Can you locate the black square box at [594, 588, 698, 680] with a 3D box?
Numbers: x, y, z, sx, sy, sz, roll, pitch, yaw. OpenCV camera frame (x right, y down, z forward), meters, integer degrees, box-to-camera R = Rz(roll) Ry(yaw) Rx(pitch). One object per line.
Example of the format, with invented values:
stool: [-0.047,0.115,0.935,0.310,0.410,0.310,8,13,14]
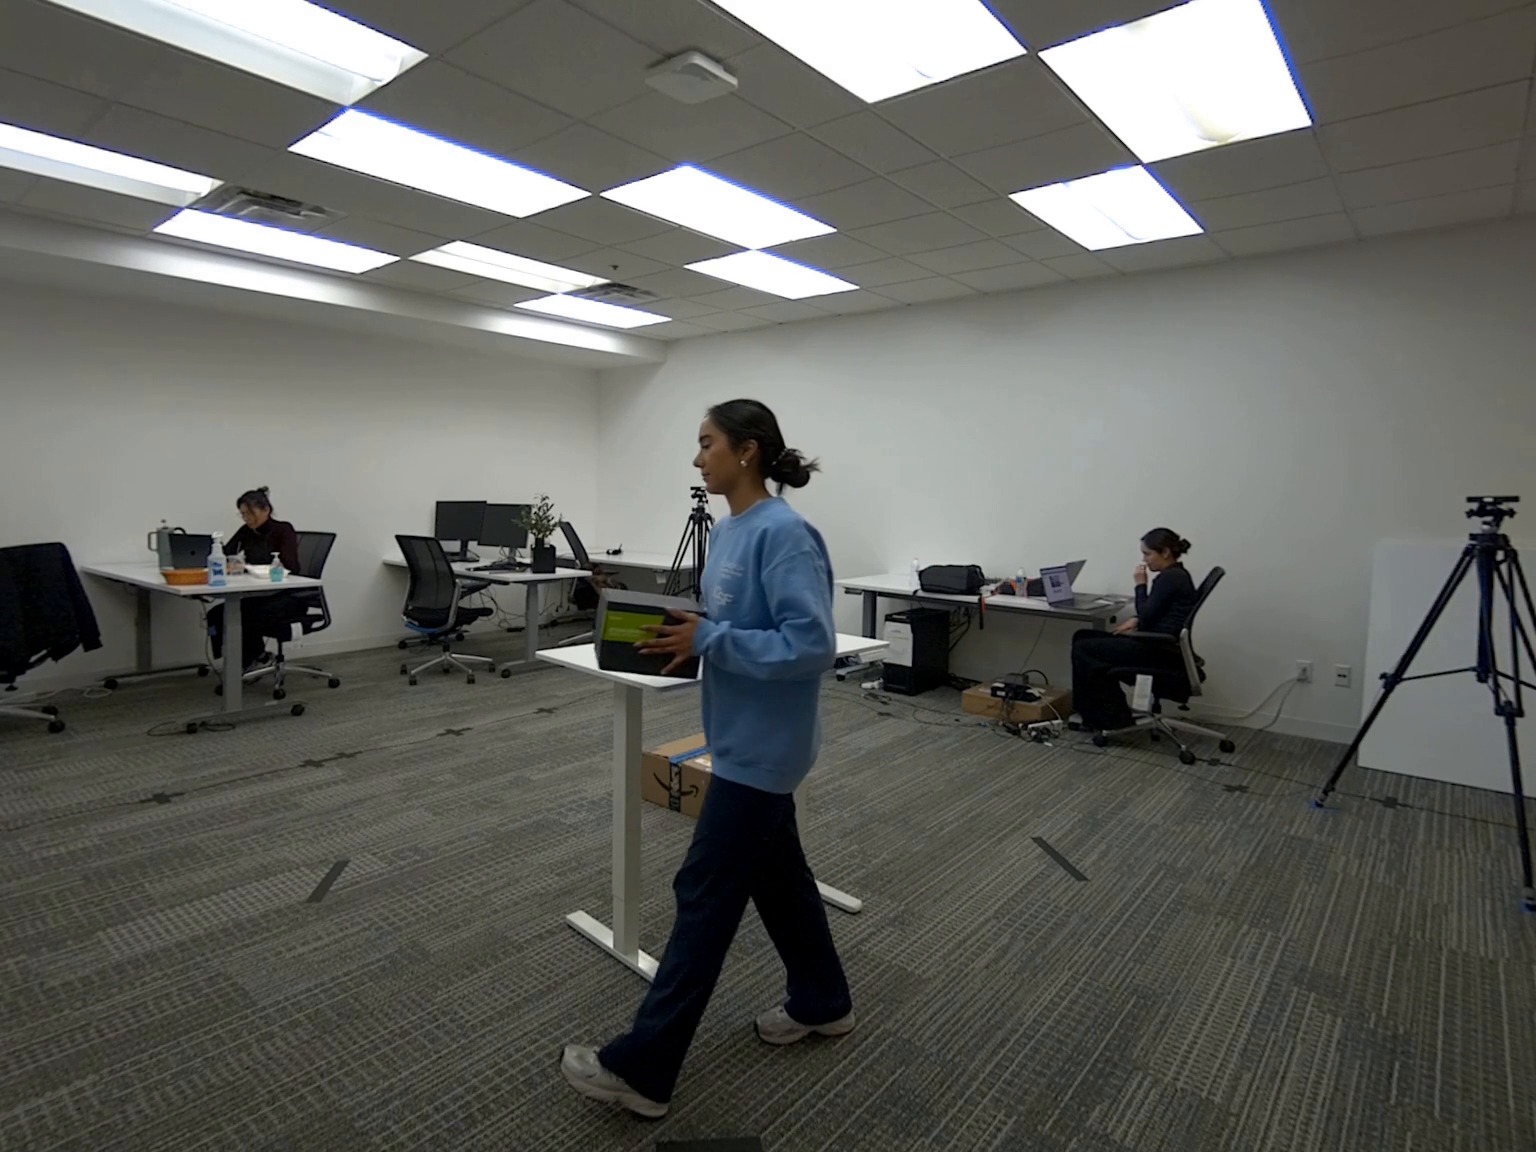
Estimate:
black square box: [-0.291,0.122,1.993,0.224,0.155,0.221,7,5,-14]
